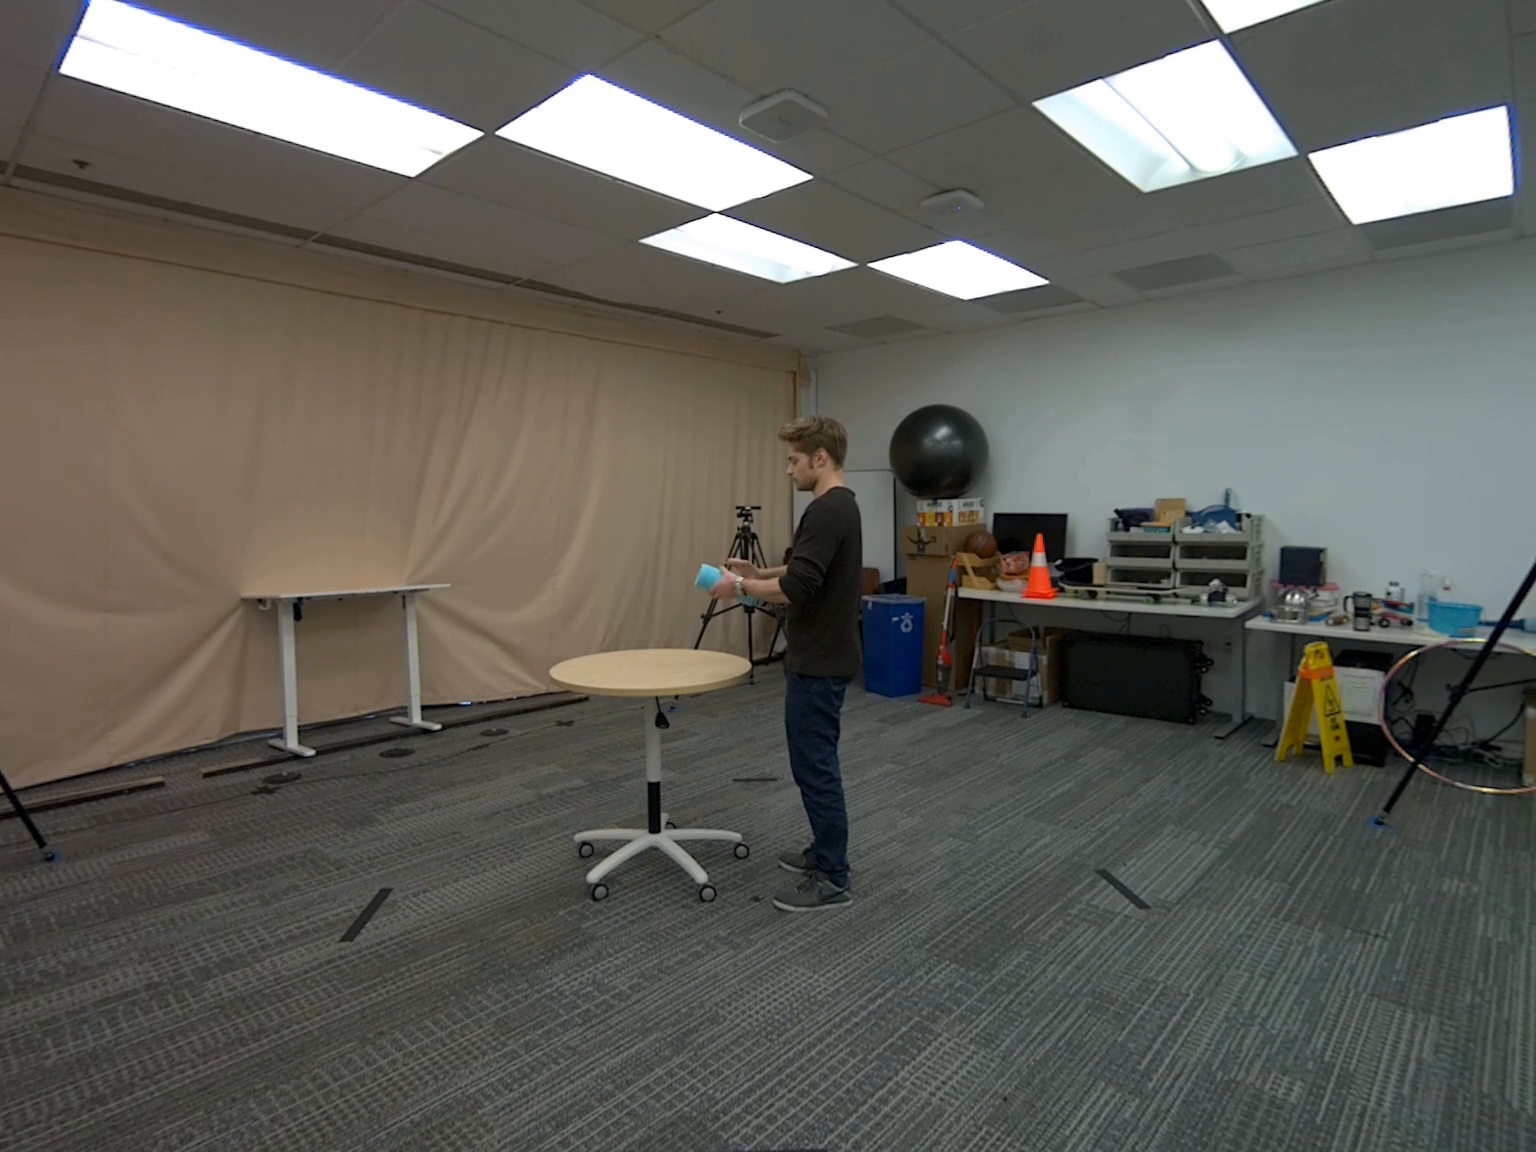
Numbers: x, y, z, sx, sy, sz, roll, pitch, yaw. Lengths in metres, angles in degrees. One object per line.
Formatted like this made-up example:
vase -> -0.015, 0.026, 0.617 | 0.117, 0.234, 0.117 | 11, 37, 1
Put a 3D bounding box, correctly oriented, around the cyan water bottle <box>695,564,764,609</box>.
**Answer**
cyan water bottle -> -0.114, 0.043, 3.071 | 0.282, 0.092, 0.093 | 21, 2, -4
